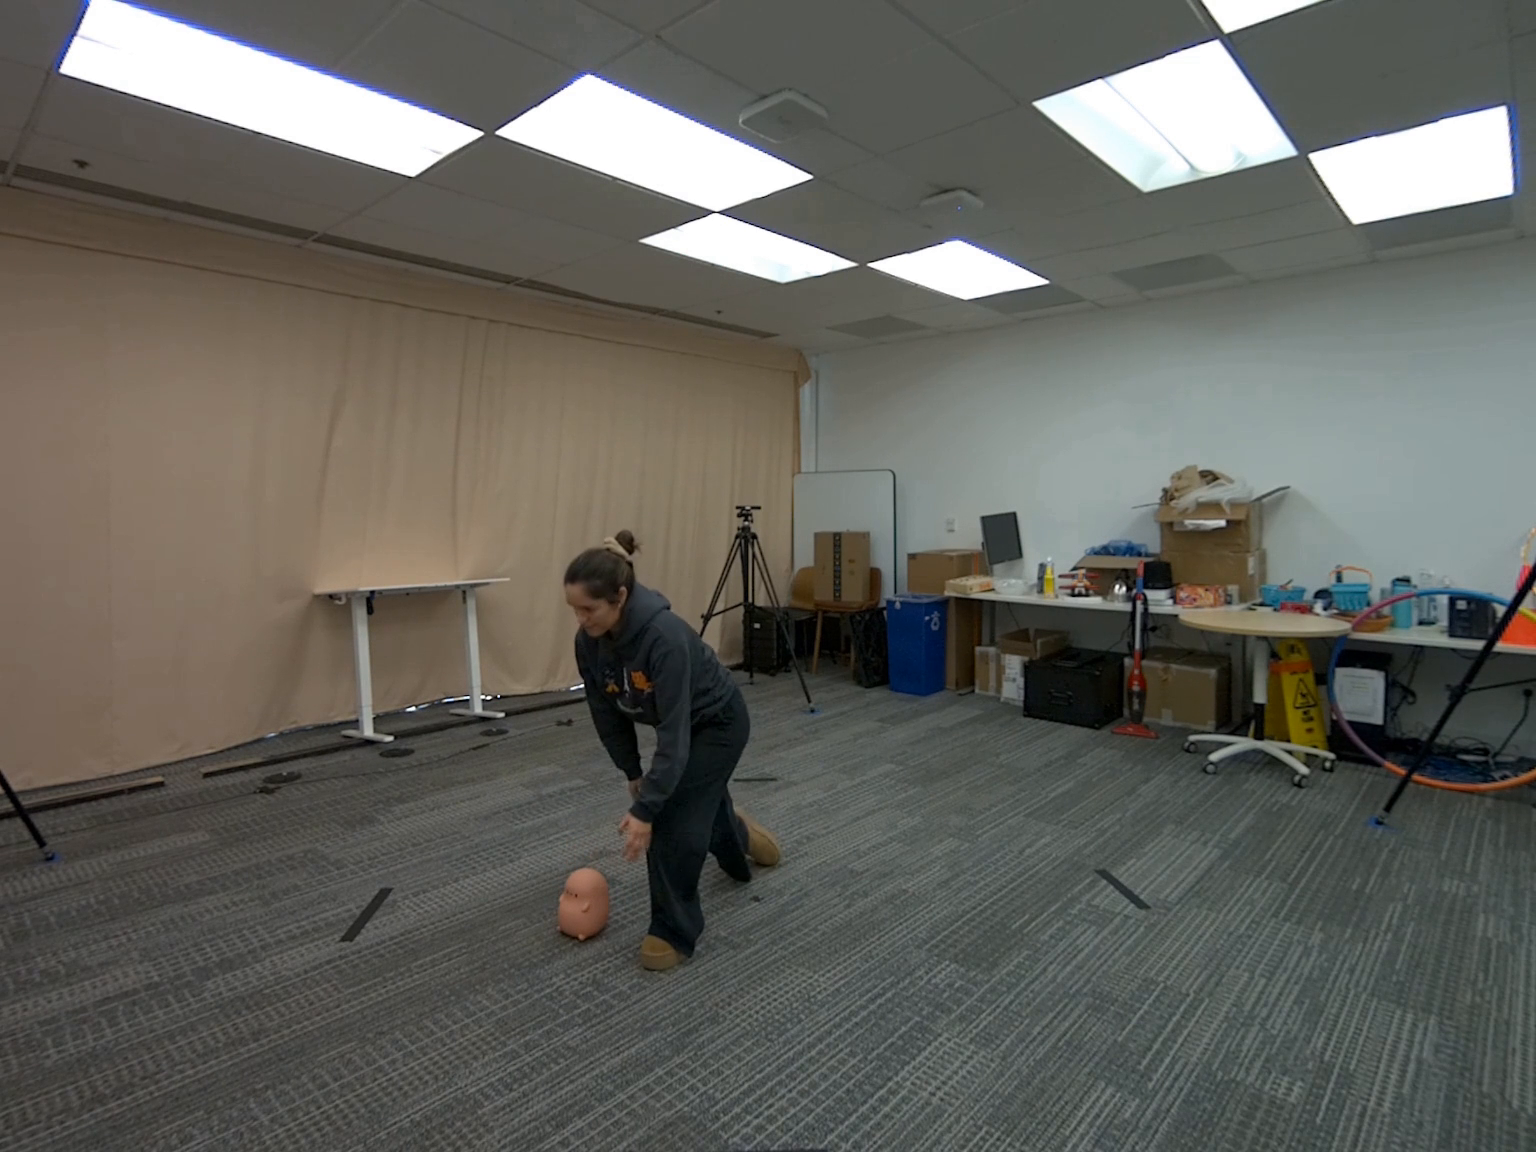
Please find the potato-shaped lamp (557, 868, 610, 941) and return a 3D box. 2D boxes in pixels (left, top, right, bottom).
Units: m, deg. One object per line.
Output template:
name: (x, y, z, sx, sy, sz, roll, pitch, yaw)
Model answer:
potato-shaped lamp: (-0.582, 1.071, 2.769, 0.170, 0.197, 0.167, 3, 5, 32)
